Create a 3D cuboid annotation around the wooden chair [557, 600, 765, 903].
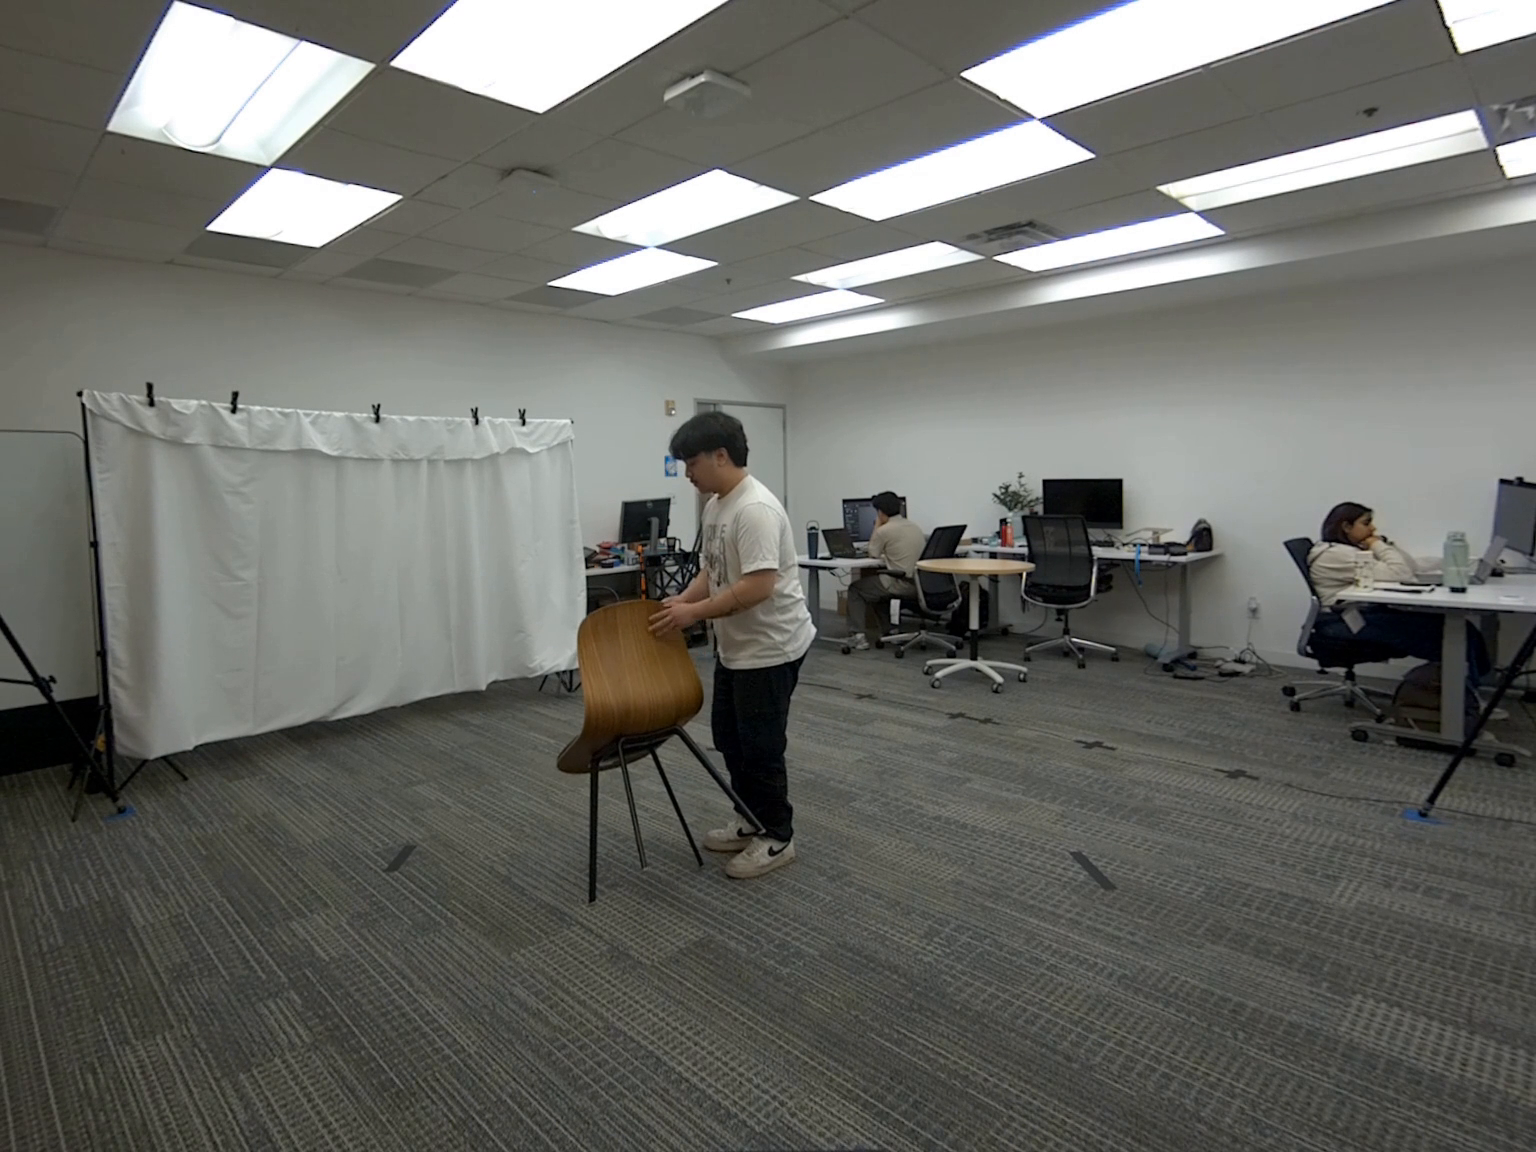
[{"bbox_3d":[-0.458,0.591,2.972,0.466,0.898,0.524,-5,-25,-36],"label":"wooden chair"}]
